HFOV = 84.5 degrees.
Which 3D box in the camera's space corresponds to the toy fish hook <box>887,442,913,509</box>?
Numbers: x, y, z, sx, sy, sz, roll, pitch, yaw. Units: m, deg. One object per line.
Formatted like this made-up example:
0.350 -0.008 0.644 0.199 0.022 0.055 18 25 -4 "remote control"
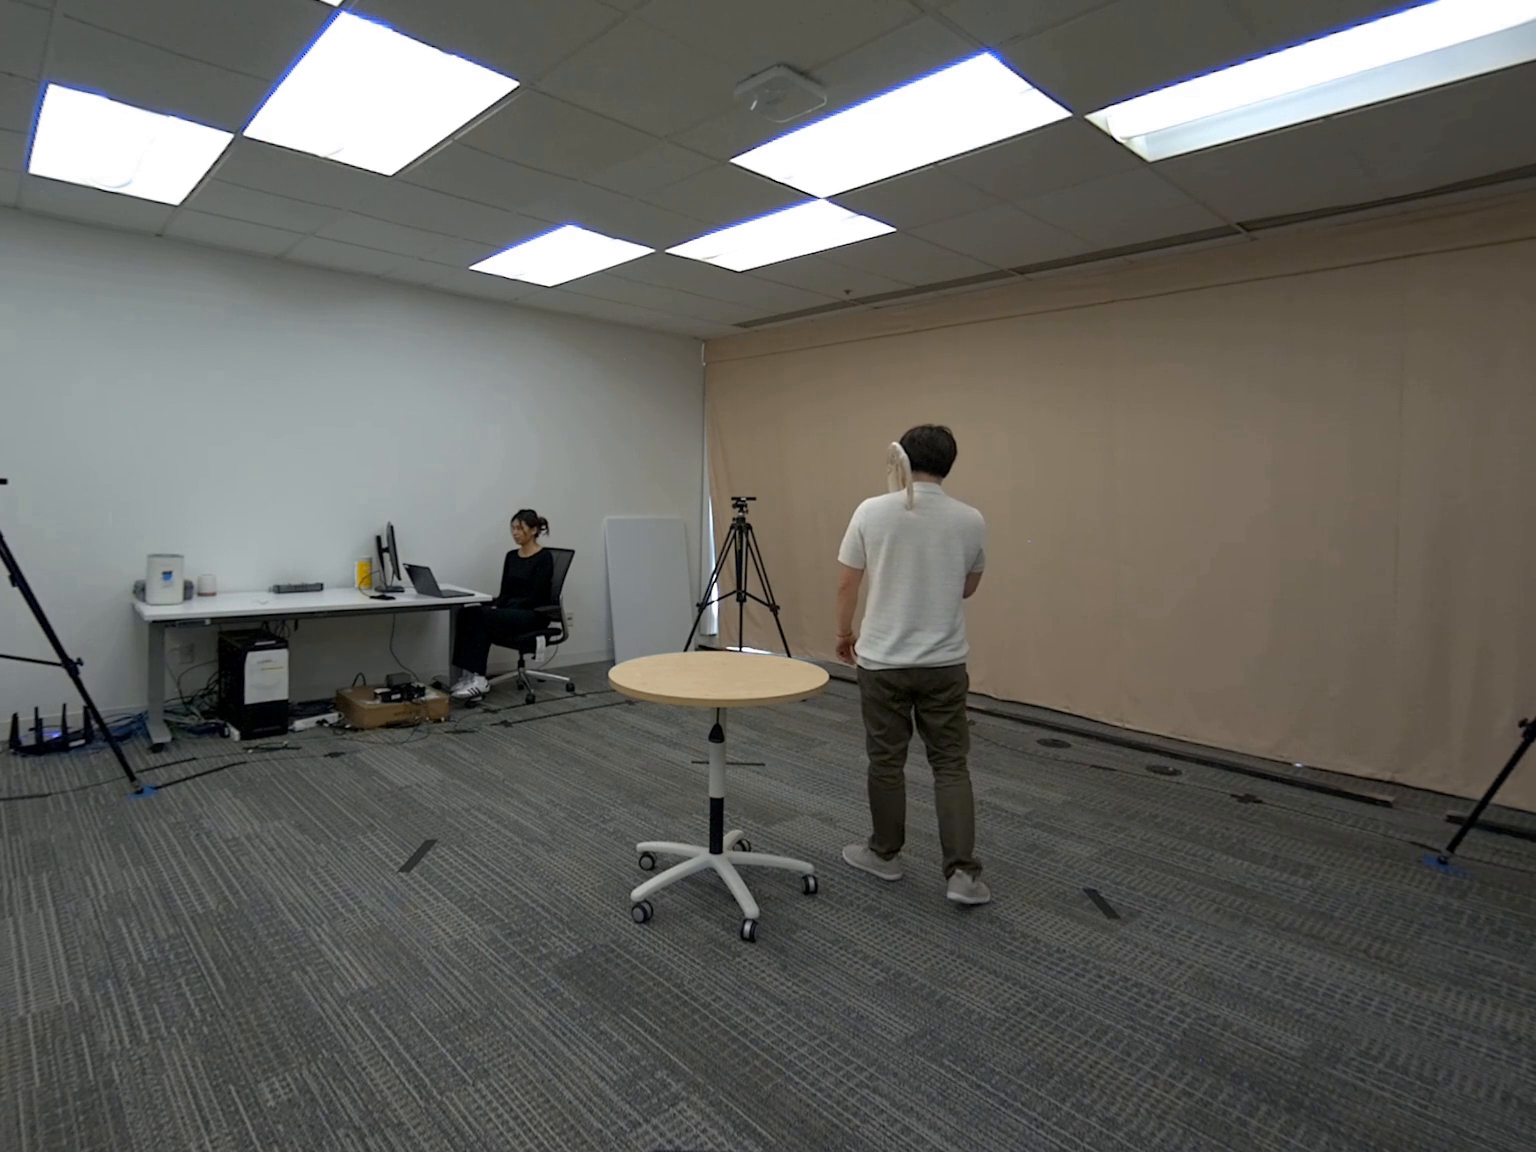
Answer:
0.479 -0.240 3.036 0.048 0.494 0.230 -10 38 -3 "toy fish hook"
